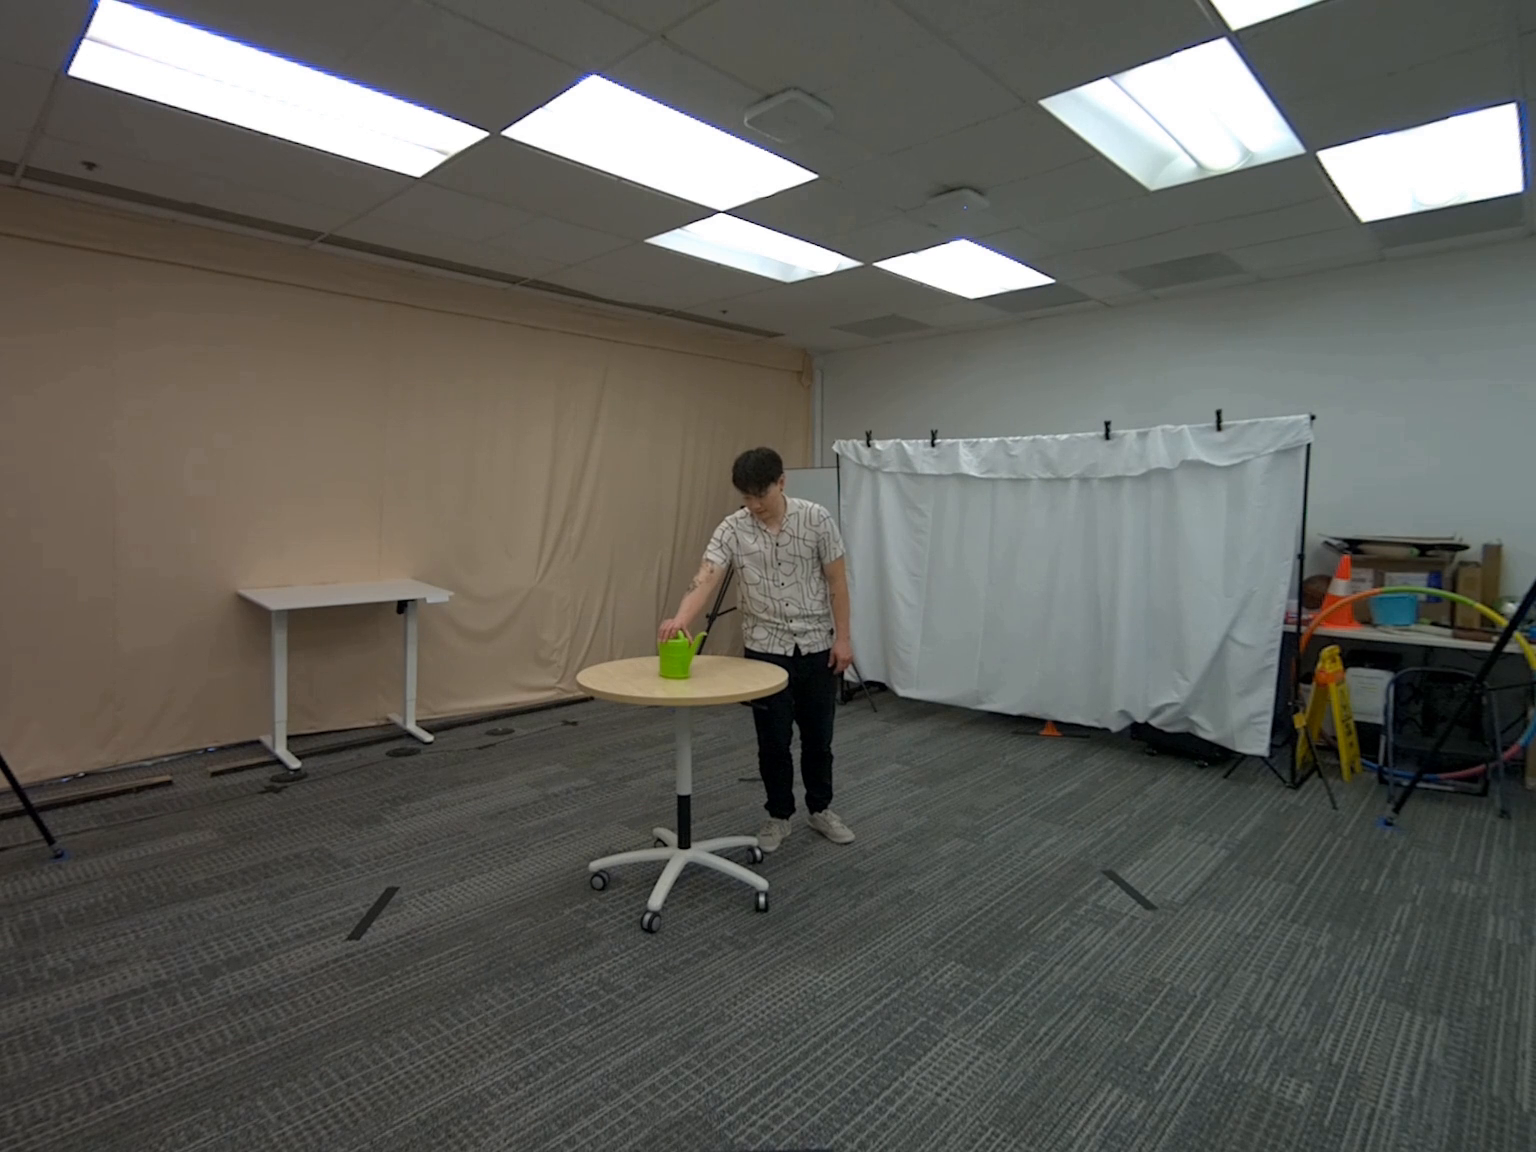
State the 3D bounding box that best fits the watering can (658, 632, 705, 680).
[{"bbox_3d":[-0.312,0.275,2.981,0.095,0.177,0.286,0,0,-30],"label":"watering can"}]
